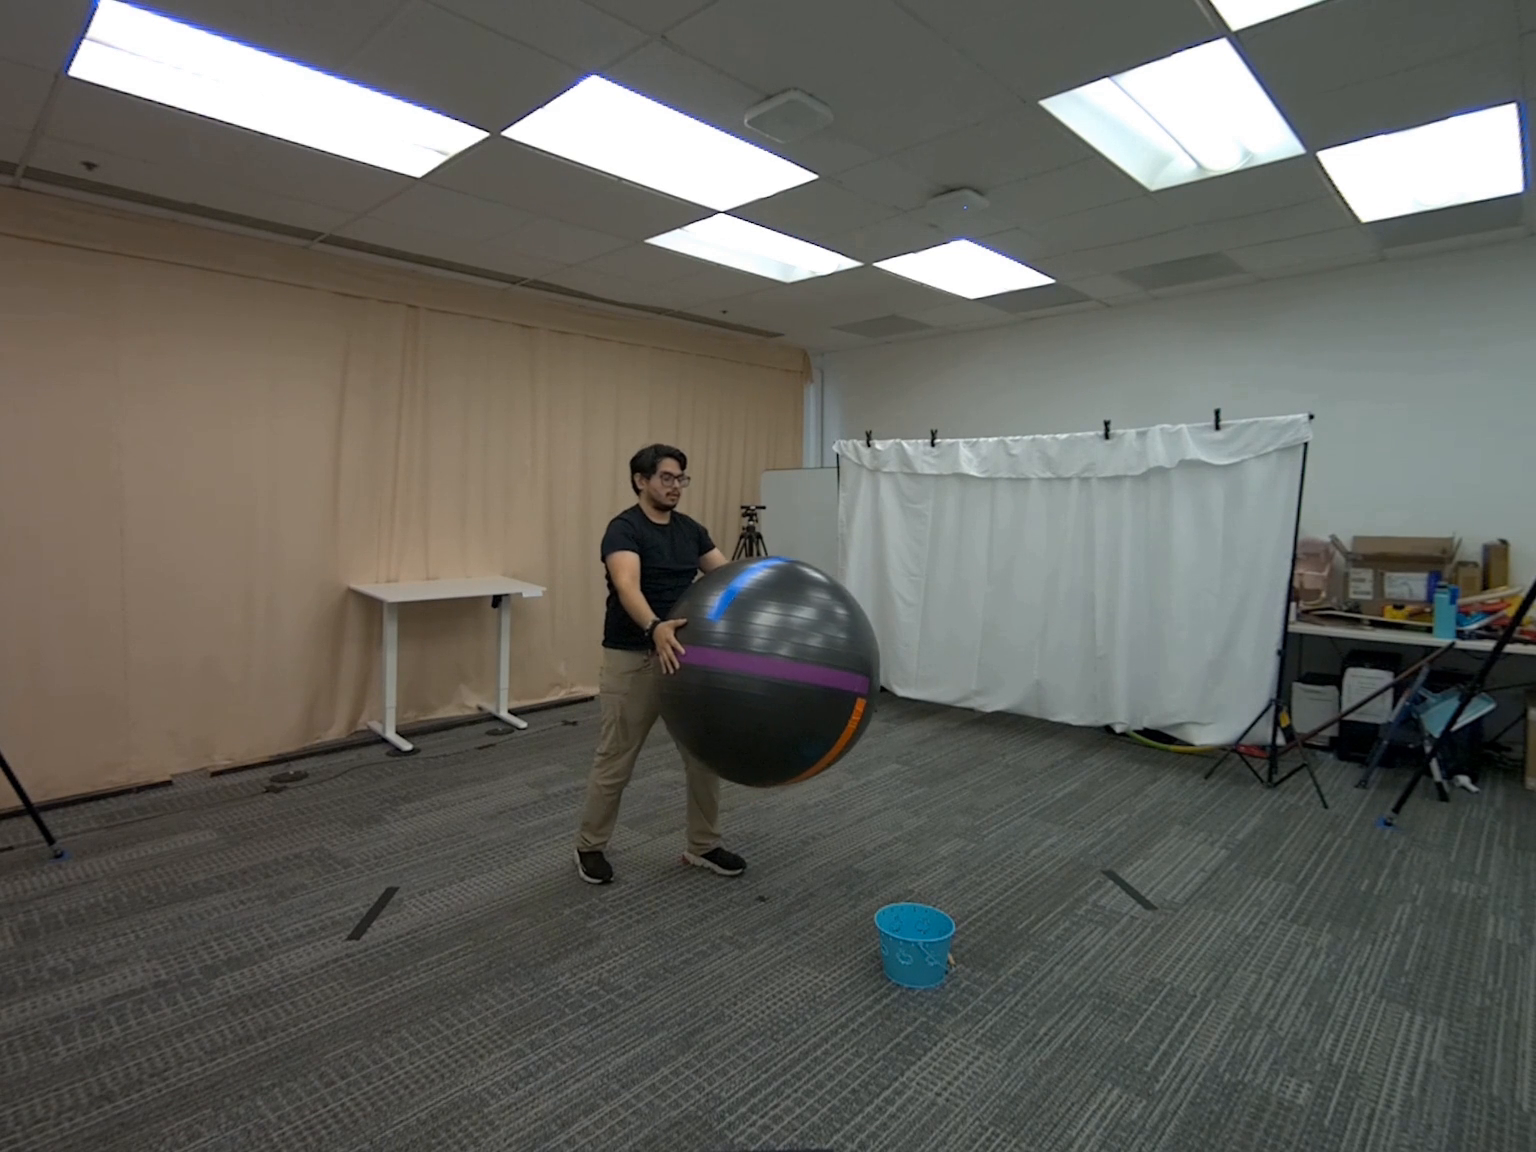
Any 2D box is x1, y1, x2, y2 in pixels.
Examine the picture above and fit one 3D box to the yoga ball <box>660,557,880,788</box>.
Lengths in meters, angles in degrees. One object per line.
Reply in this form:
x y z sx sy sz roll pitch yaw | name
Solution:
0.002 0.315 2.826 0.757 0.756 0.761 0 4 -2 | yoga ball
